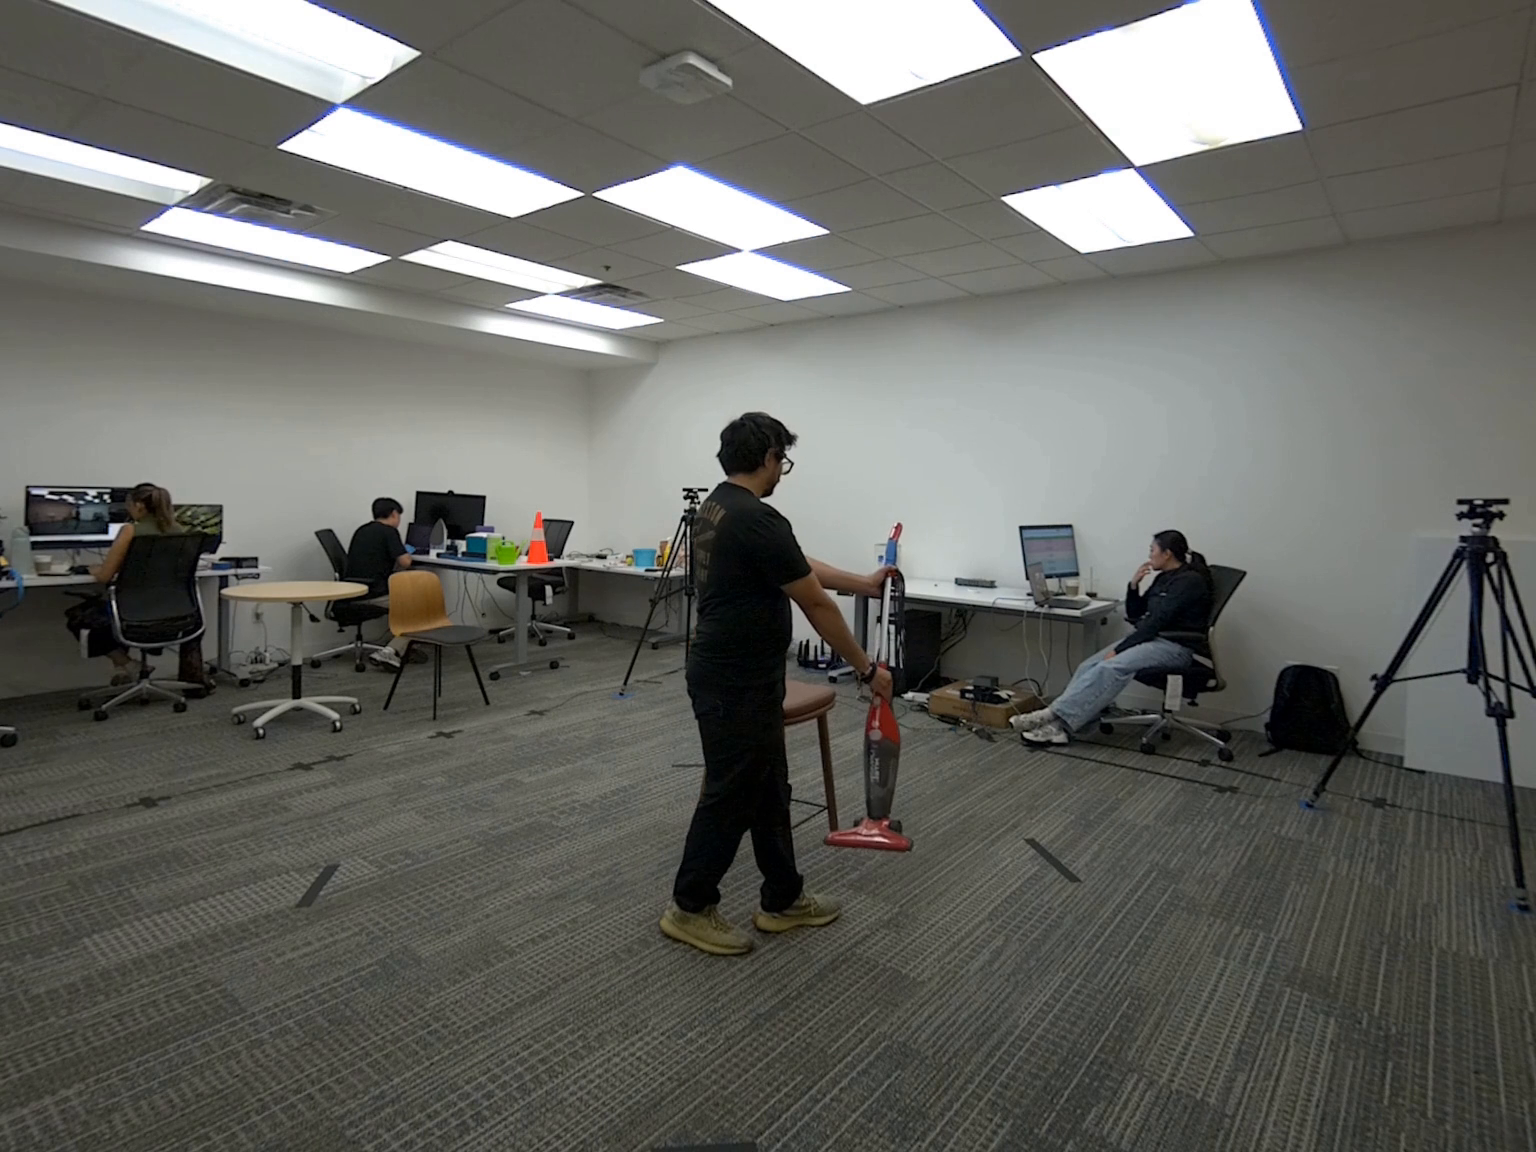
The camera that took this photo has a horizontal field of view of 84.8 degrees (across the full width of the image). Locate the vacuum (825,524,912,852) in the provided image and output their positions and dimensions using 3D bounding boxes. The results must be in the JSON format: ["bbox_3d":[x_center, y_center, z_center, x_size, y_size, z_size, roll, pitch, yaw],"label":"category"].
[{"bbox_3d":[0.375,0.293,2.675,0.259,1.069,0.138,-9,-33,31],"label":"vacuum"}]
